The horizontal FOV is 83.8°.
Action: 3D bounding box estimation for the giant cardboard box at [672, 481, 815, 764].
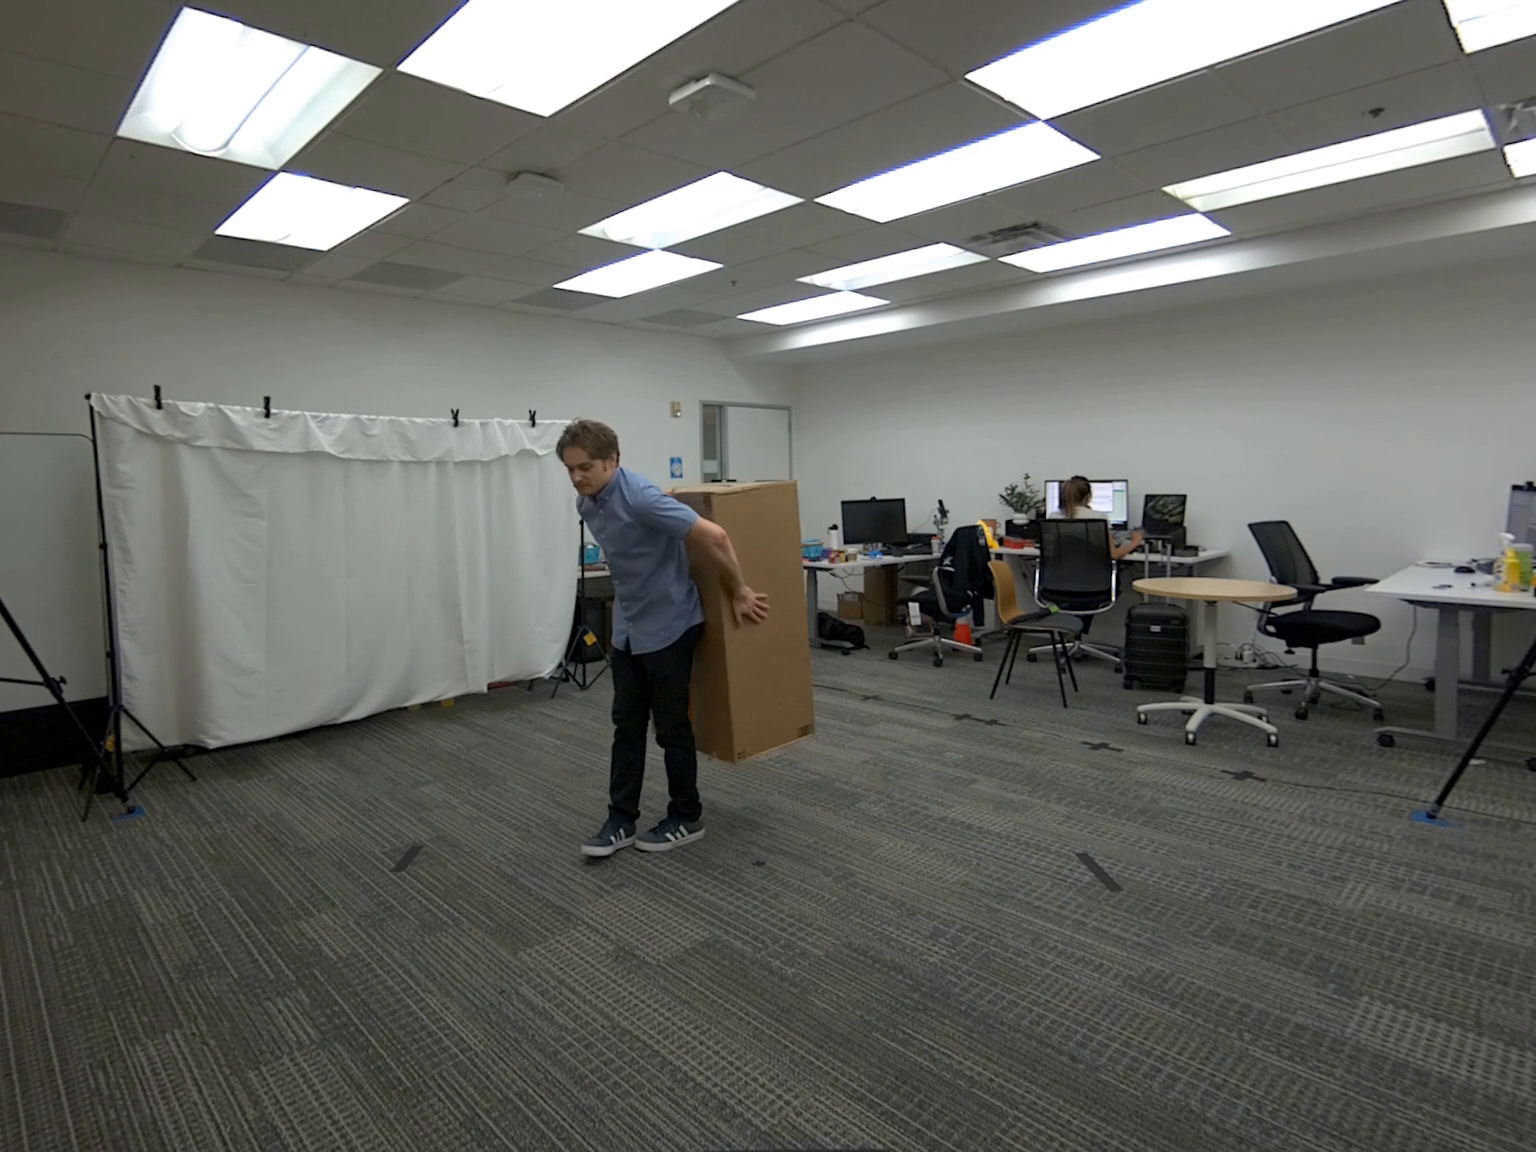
[{"bbox_3d":[-0.189,0.155,3.456,0.436,1.021,0.601,-9,8,-39],"label":"giant cardboard box"}]
